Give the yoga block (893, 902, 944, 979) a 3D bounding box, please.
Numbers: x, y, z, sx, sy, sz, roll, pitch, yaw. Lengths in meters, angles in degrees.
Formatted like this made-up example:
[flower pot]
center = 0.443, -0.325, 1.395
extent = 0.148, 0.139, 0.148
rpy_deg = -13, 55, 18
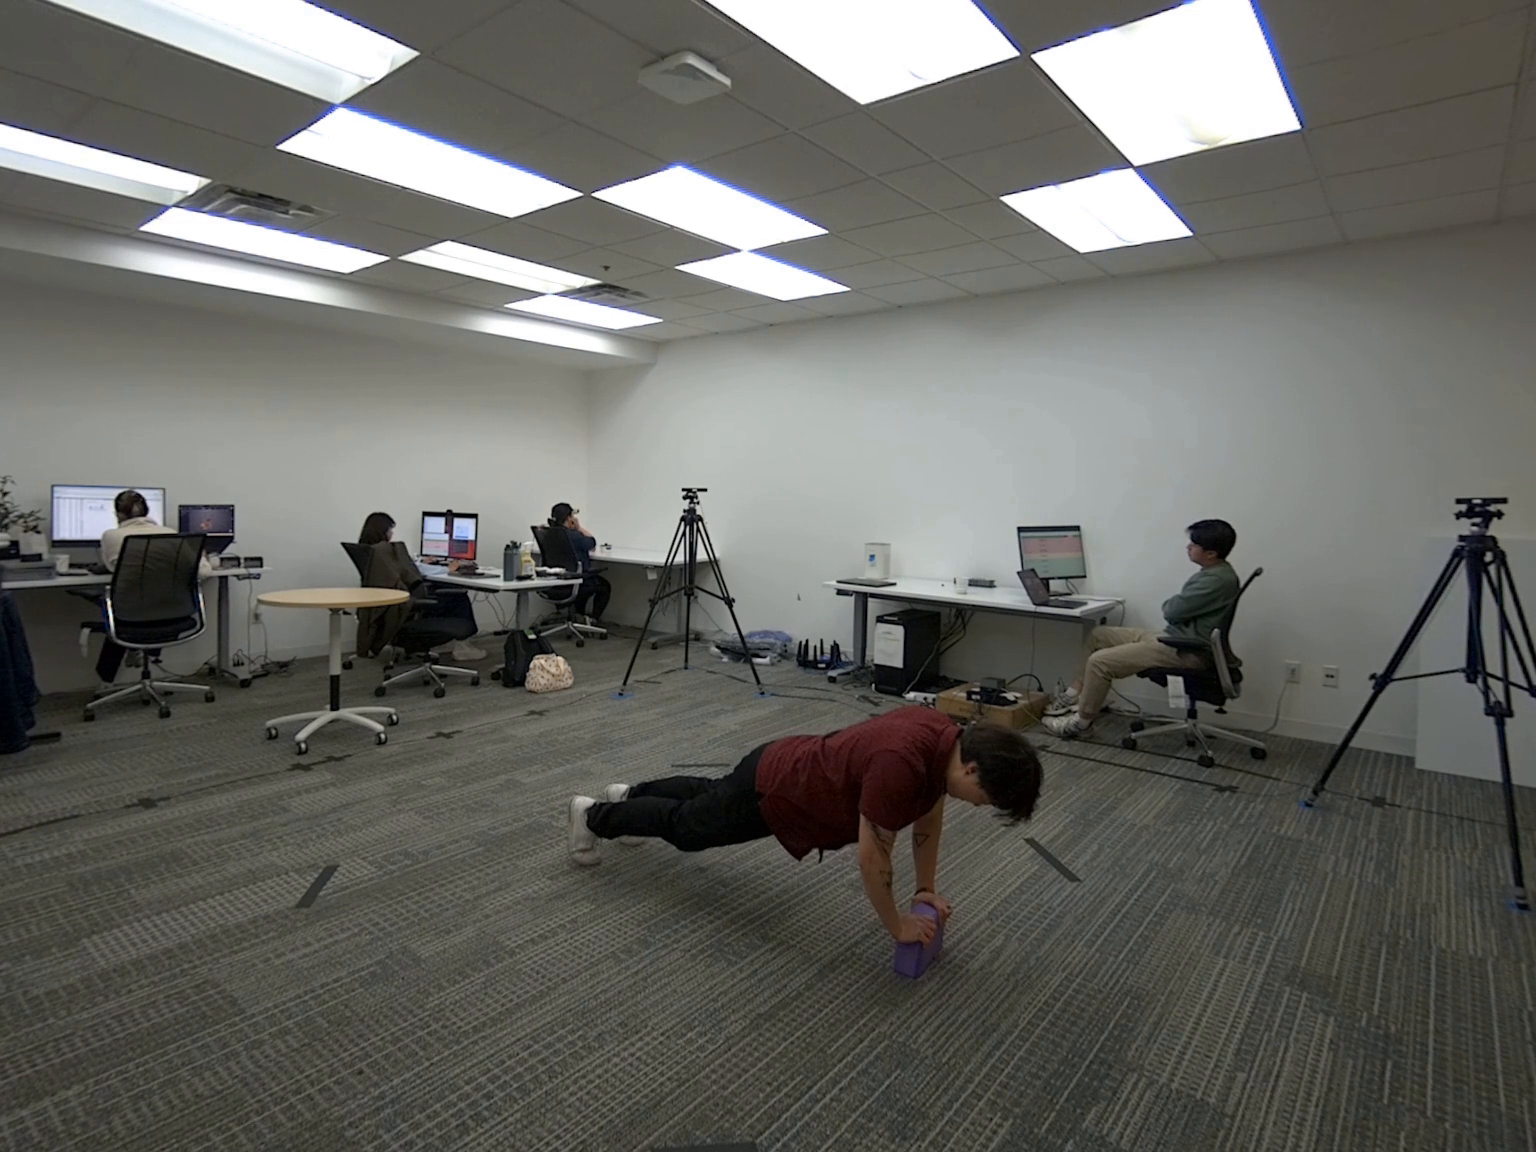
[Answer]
[yoga block]
center = 0.453, 1.072, 2.541
extent = 0.079, 0.148, 0.223
rpy_deg = 8, 7, 30
